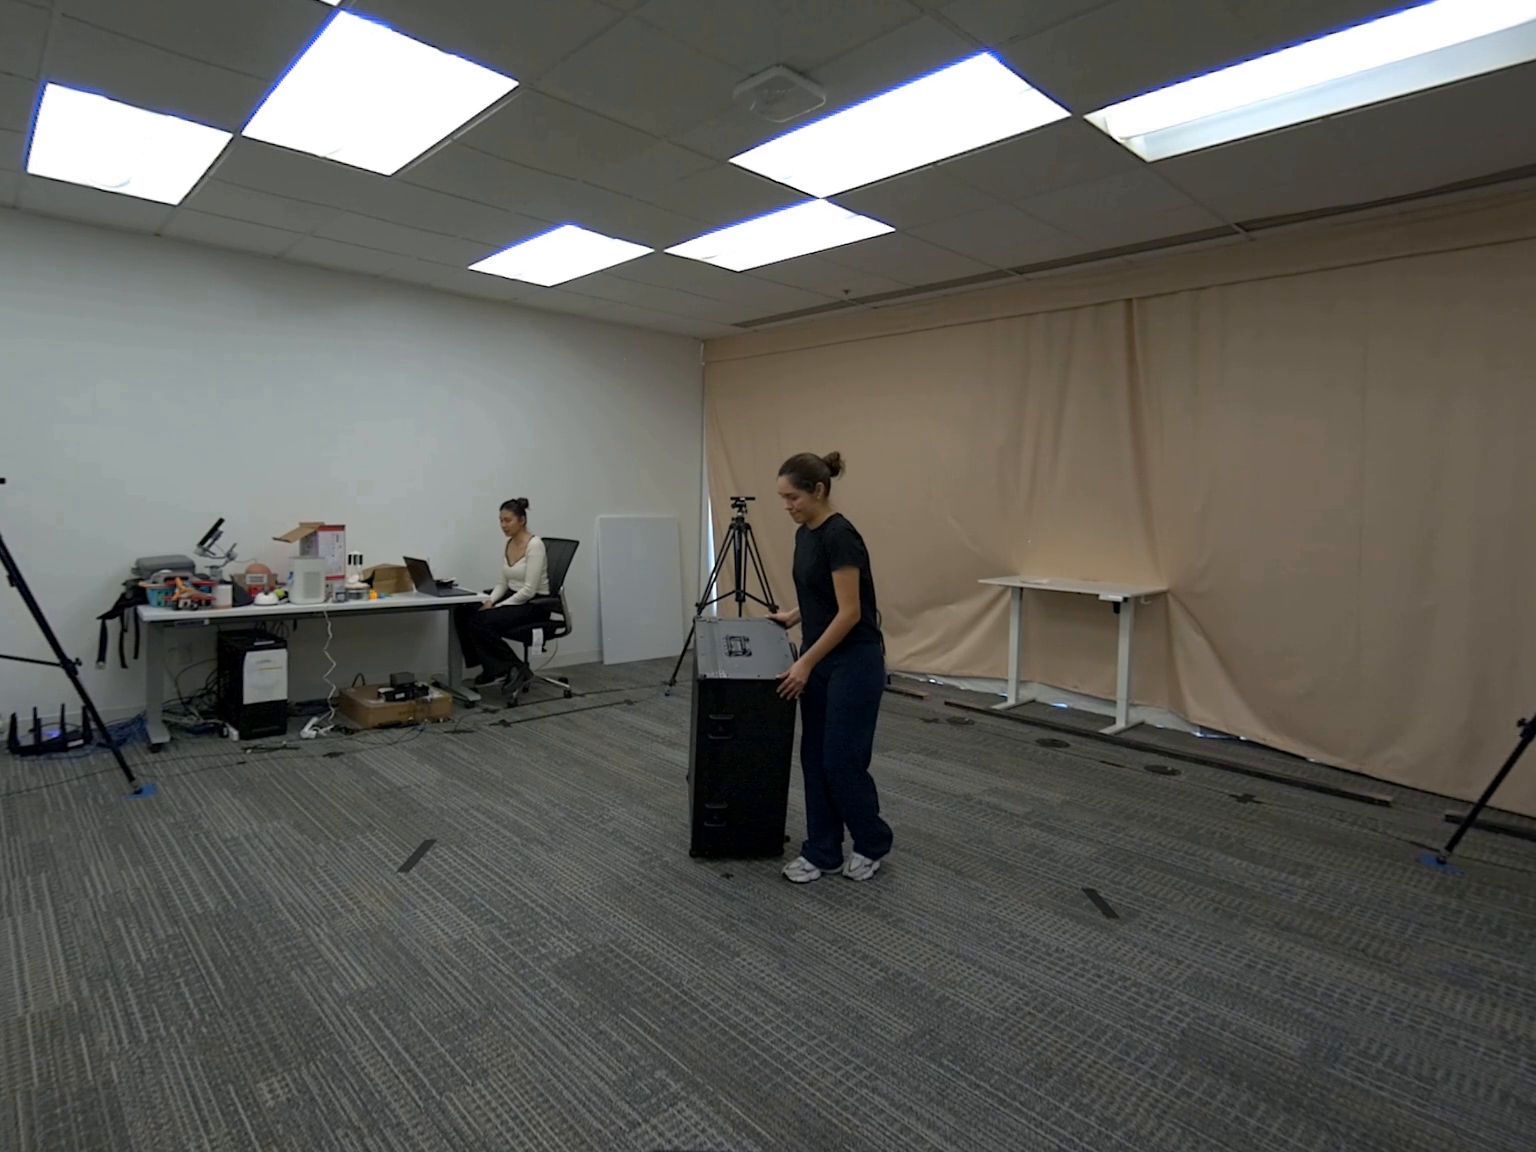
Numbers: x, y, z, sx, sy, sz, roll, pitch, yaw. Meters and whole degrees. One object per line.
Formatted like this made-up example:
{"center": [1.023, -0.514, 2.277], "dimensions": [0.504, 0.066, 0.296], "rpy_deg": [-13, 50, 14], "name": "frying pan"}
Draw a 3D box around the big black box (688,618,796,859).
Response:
{"center": [-0.116, 0.648, 3.295], "dimensions": [0.394, 0.849, 0.531], "rpy_deg": [2, 22, -7], "name": "big black box"}
